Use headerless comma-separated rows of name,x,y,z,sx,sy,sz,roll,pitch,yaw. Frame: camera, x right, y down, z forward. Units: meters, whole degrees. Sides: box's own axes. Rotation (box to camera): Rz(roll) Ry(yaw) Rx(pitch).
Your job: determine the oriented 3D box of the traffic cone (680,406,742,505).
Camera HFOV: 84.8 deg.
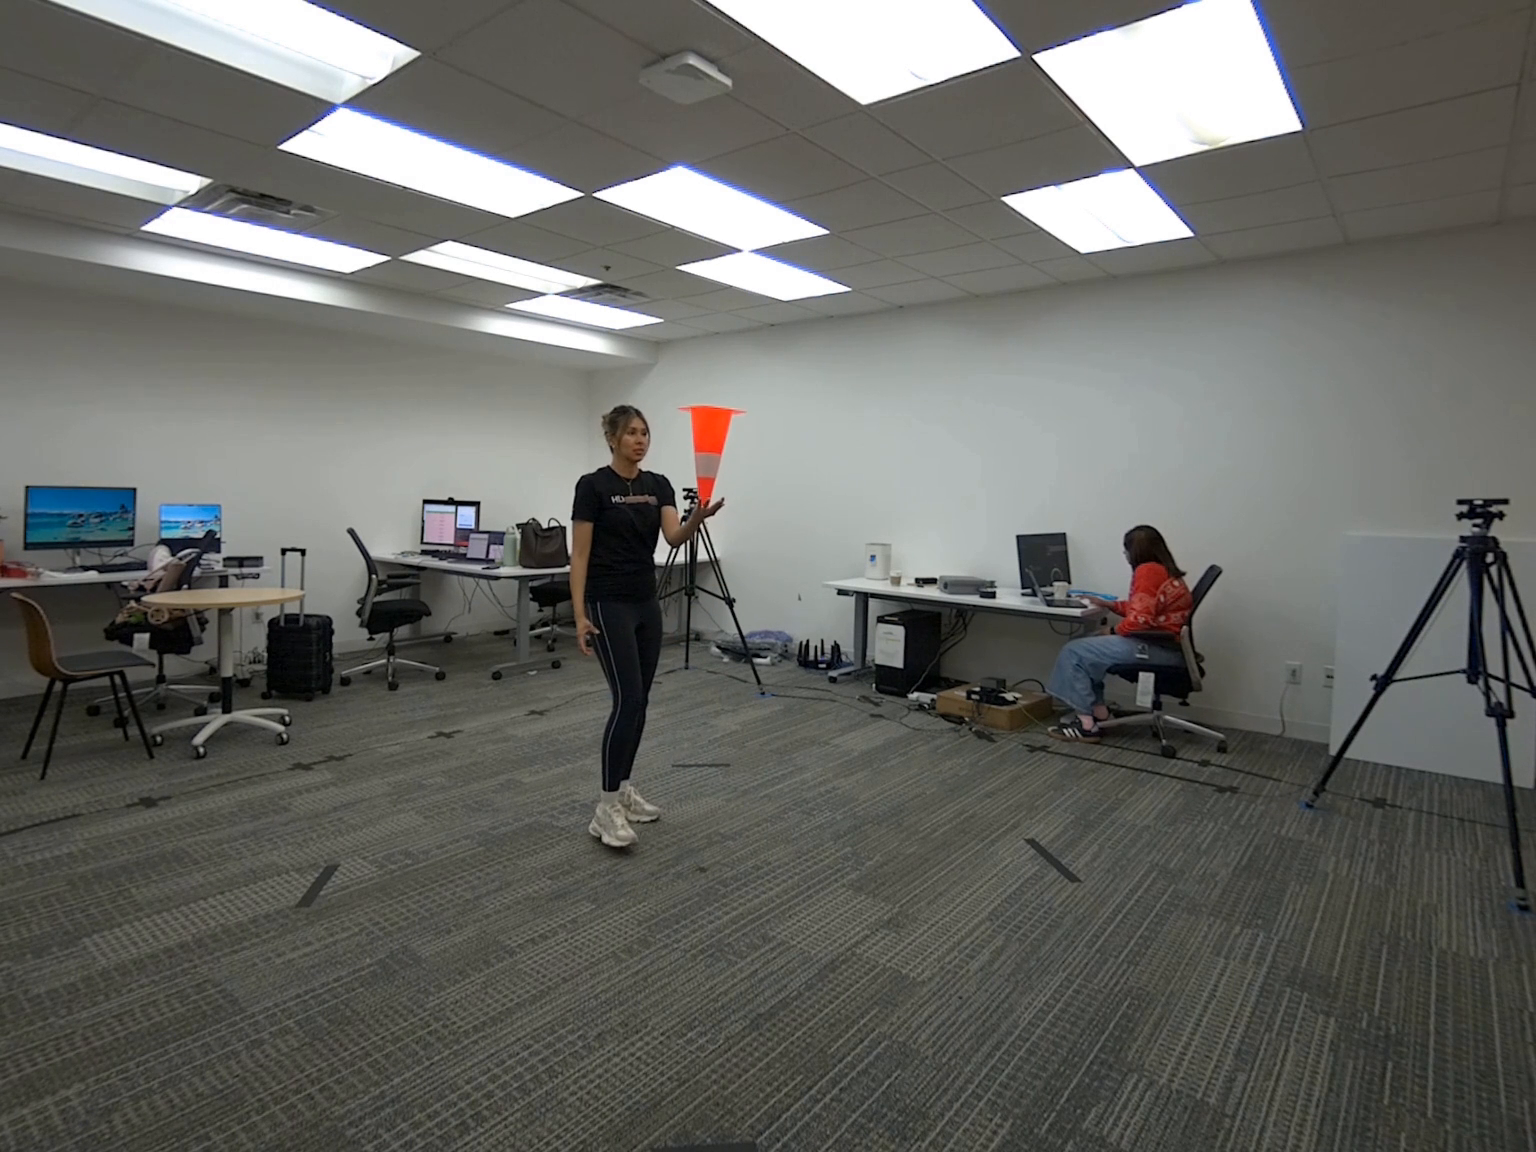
traffic cone,-0.231,-0.438,3.214,0.197,0.383,0.212,2,1,-37
